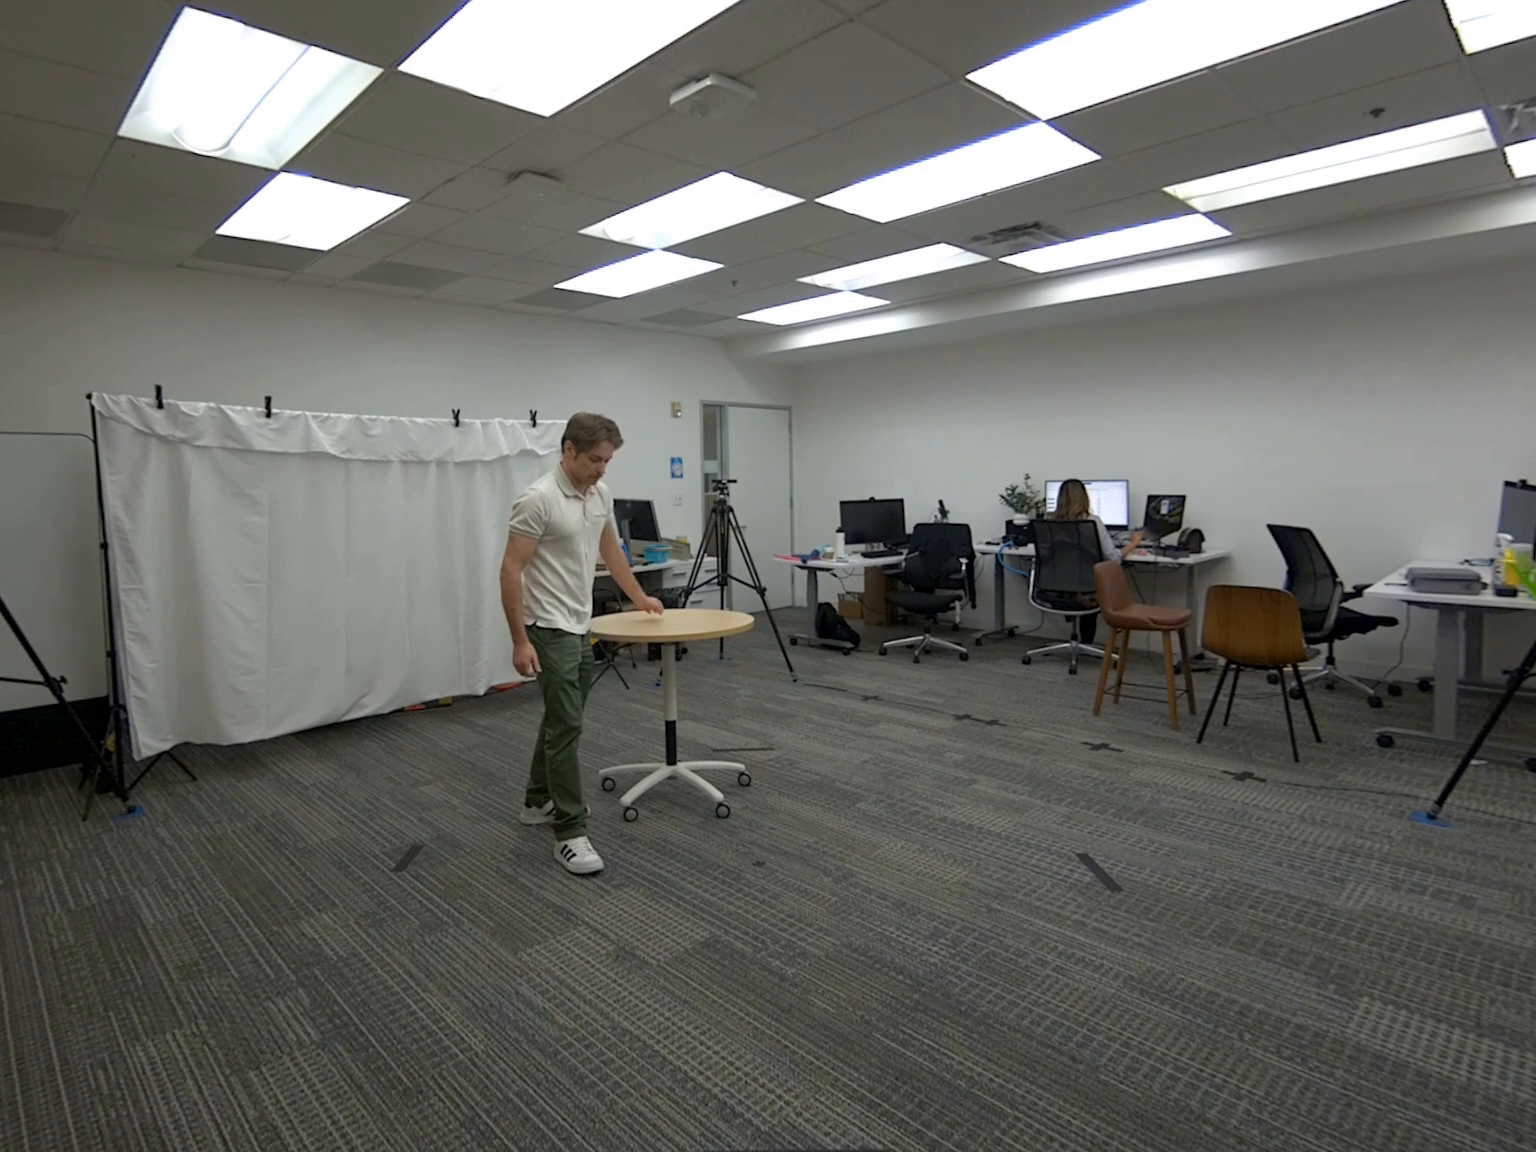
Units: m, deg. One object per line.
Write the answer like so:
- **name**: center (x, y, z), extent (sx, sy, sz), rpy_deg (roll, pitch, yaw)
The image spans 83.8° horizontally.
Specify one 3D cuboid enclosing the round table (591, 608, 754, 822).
- **round table**: center (-0.438, 0.588, 3.780), extent (0.784, 0.784, 0.788), rpy_deg (-1, 4, -2)
